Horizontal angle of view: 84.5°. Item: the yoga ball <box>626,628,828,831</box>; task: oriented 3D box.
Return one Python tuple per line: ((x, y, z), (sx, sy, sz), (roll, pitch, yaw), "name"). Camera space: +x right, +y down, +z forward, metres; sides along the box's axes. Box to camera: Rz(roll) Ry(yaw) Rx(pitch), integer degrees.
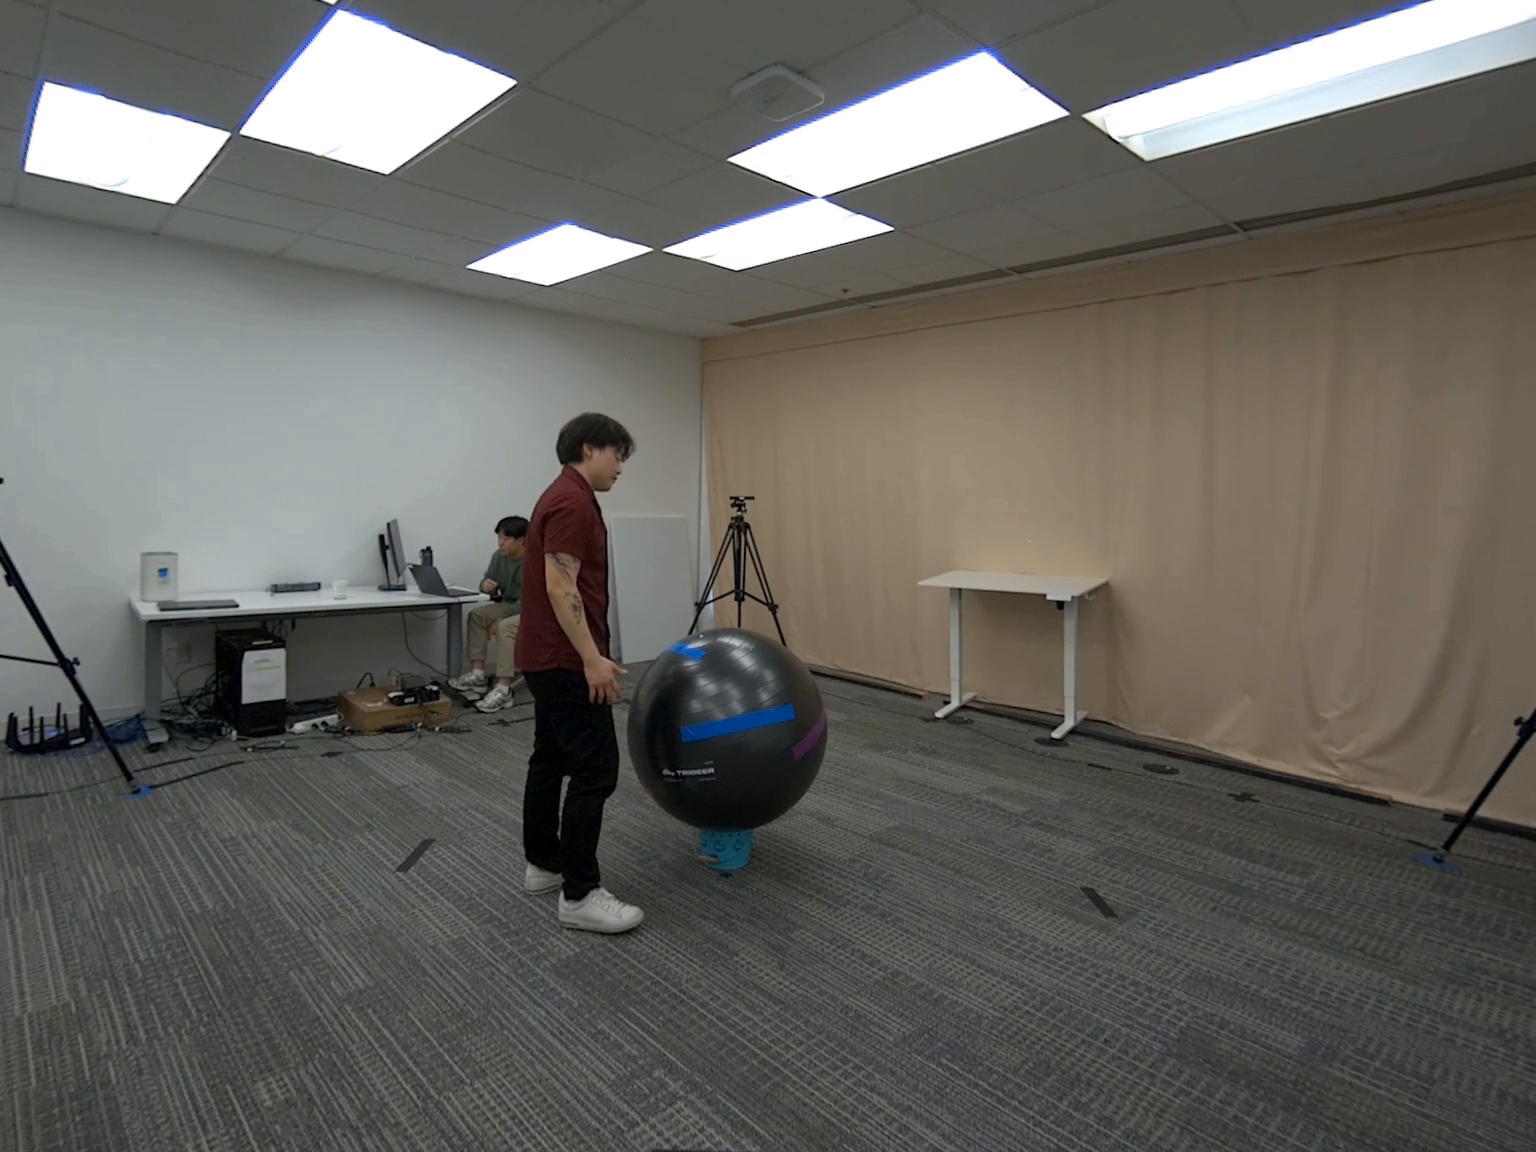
((-0.159, 0.578, 3.204), (0.757, 0.756, 0.761), (1, 4, -1), "yoga ball")
